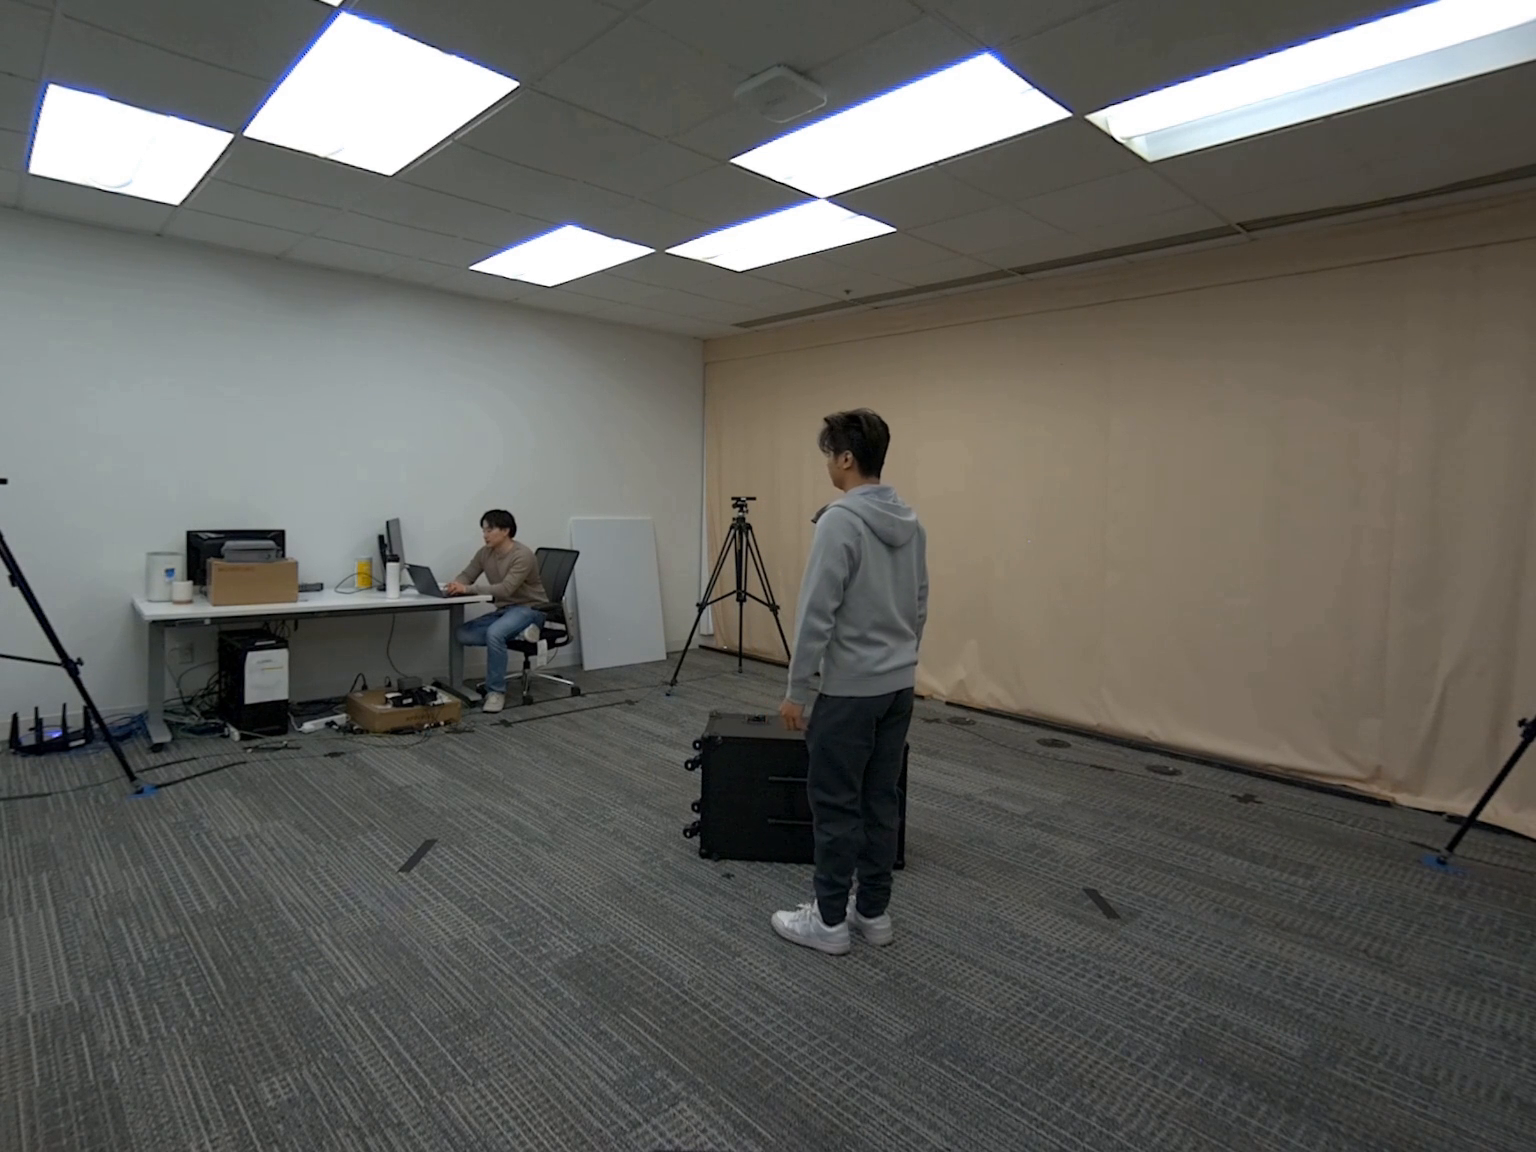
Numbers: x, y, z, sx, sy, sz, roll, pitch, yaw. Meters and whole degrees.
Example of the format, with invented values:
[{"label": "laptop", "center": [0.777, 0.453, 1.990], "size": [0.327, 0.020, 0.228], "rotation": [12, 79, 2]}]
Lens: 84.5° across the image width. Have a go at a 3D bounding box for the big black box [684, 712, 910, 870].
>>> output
[{"label": "big black box", "center": [0.097, 0.846, 3.370], "size": [0.865, 0.520, 0.395], "rotation": [2, 4, 5]}]
